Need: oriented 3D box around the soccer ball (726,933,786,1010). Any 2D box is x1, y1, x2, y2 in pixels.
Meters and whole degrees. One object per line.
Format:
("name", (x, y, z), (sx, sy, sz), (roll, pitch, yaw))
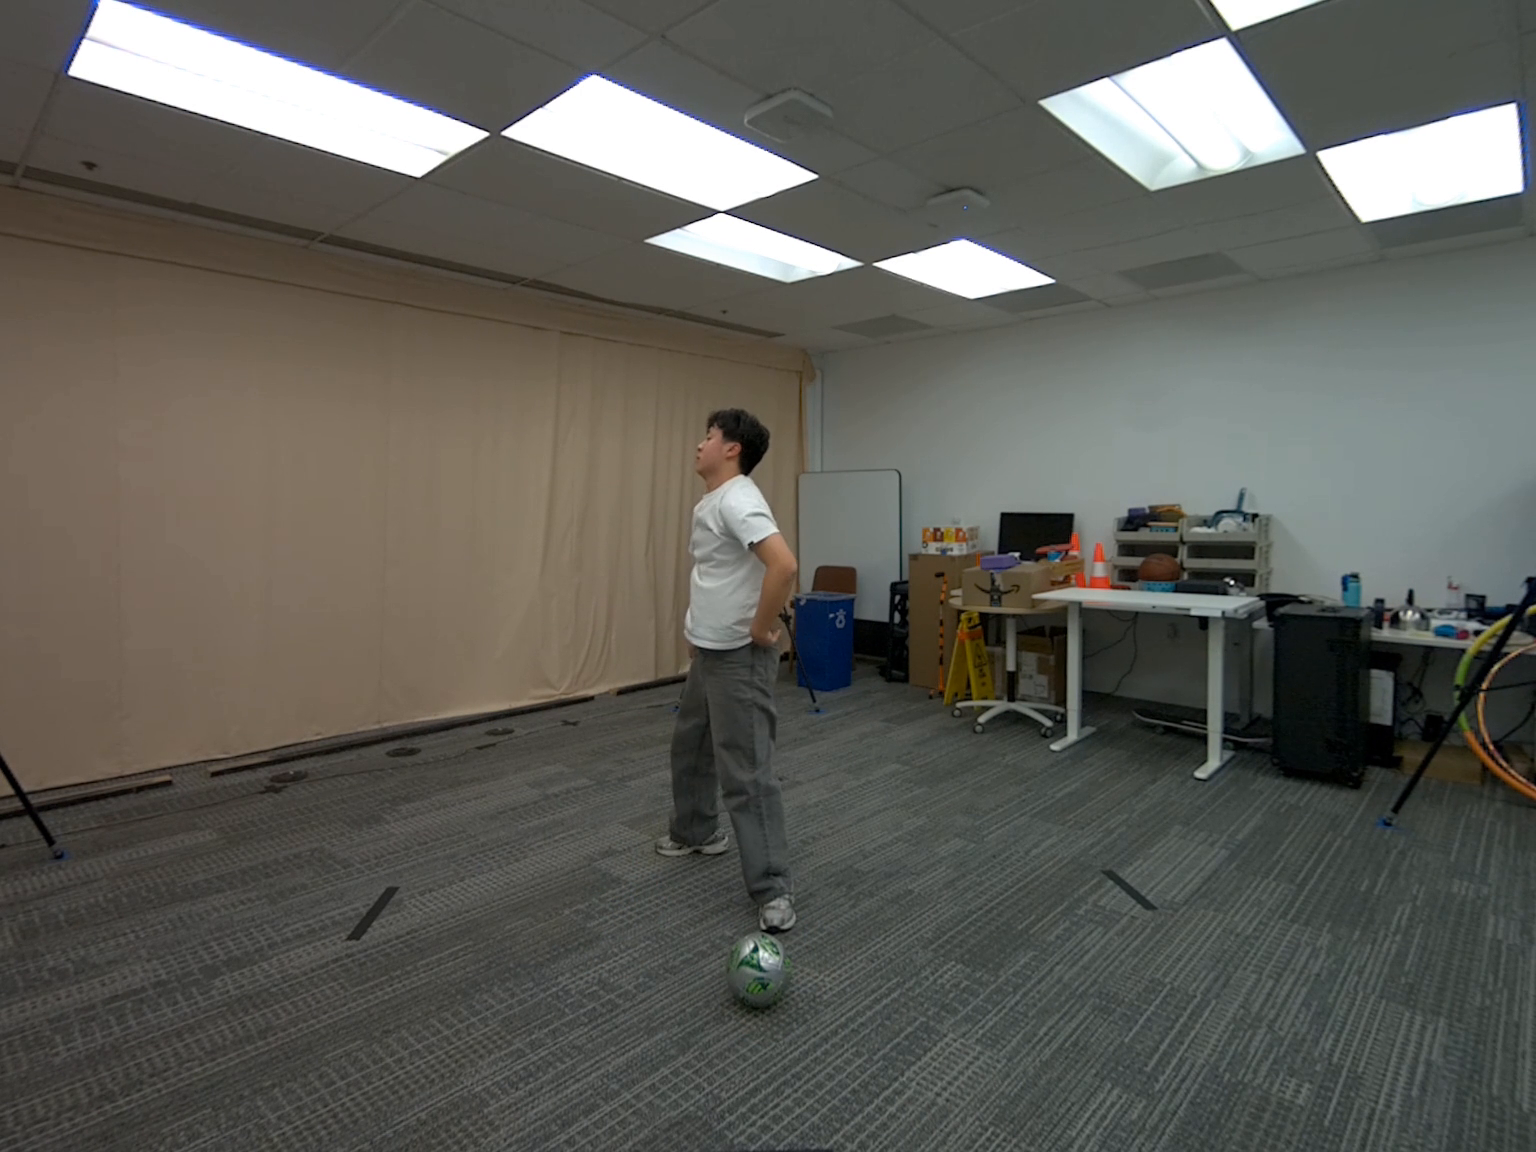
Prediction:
("soccer ball", (-0.028, 1.094, 2.364), (0.187, 0.187, 0.188), (0, 4, -2))
